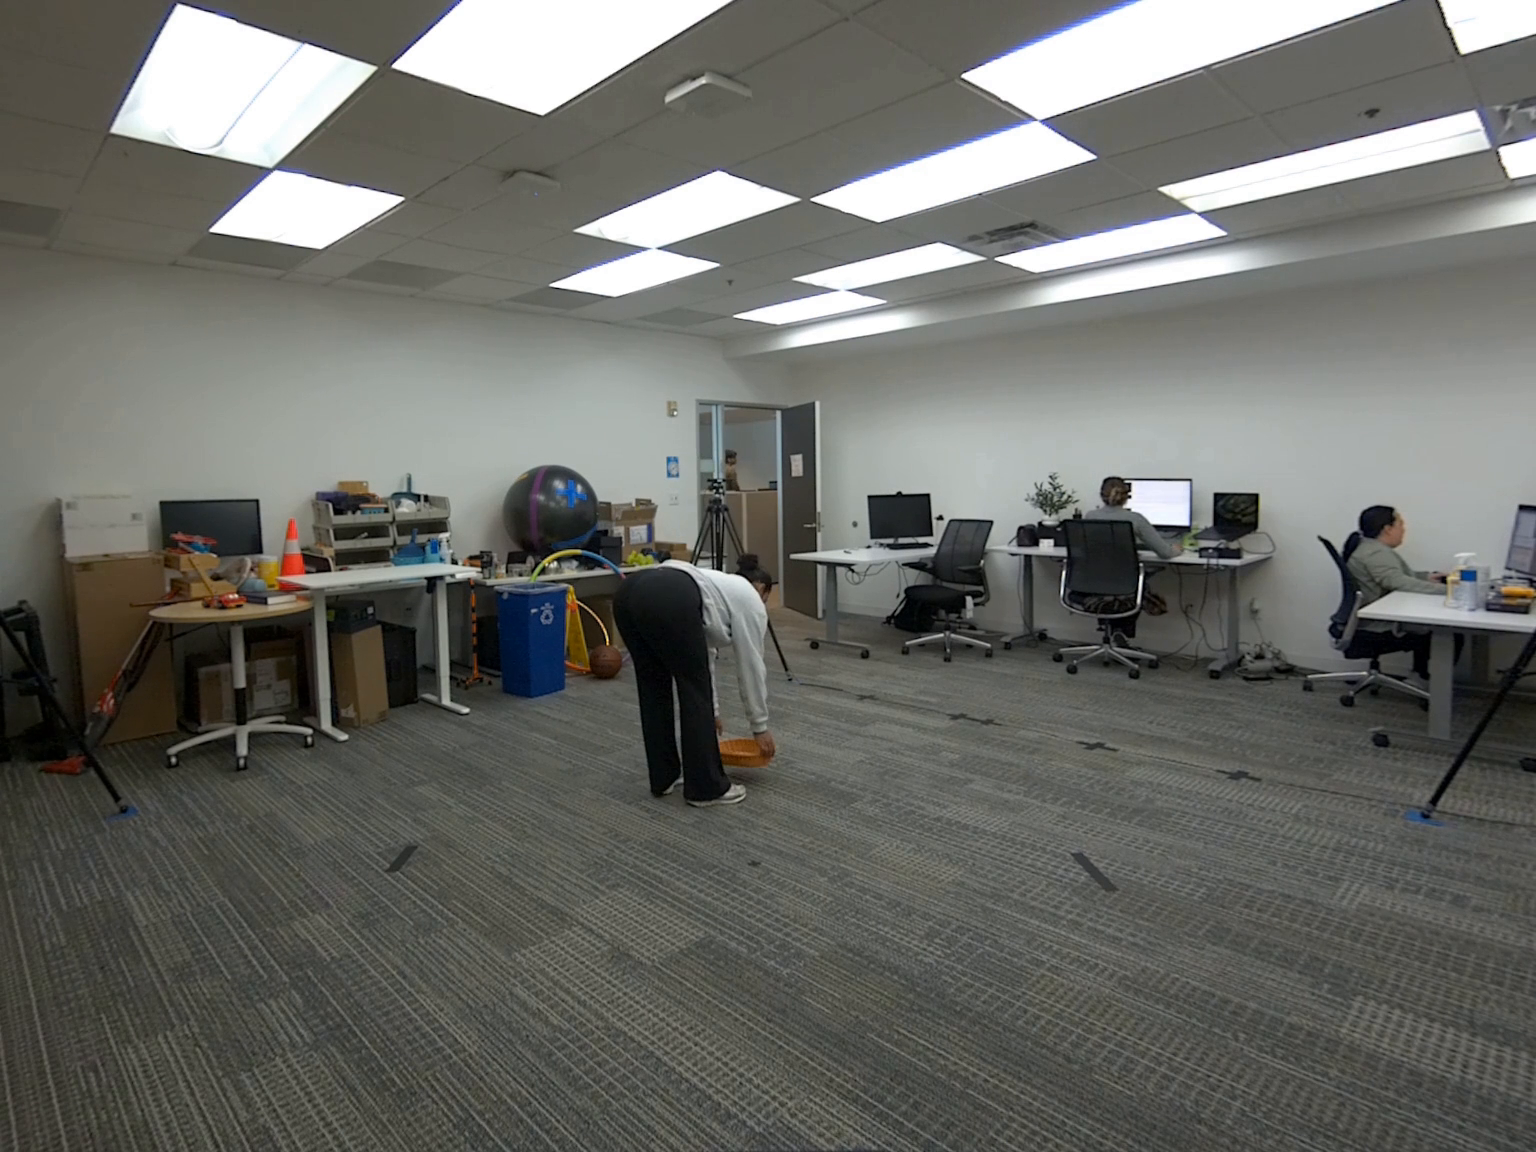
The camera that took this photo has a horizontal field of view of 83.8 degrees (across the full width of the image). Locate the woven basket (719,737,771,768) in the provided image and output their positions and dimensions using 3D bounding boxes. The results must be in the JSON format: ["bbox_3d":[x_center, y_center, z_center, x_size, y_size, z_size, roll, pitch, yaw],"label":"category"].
[{"bbox_3d":[-0.111,0.832,4.004,0.360,0.073,0.246,0,6,41],"label":"woven basket"}]
